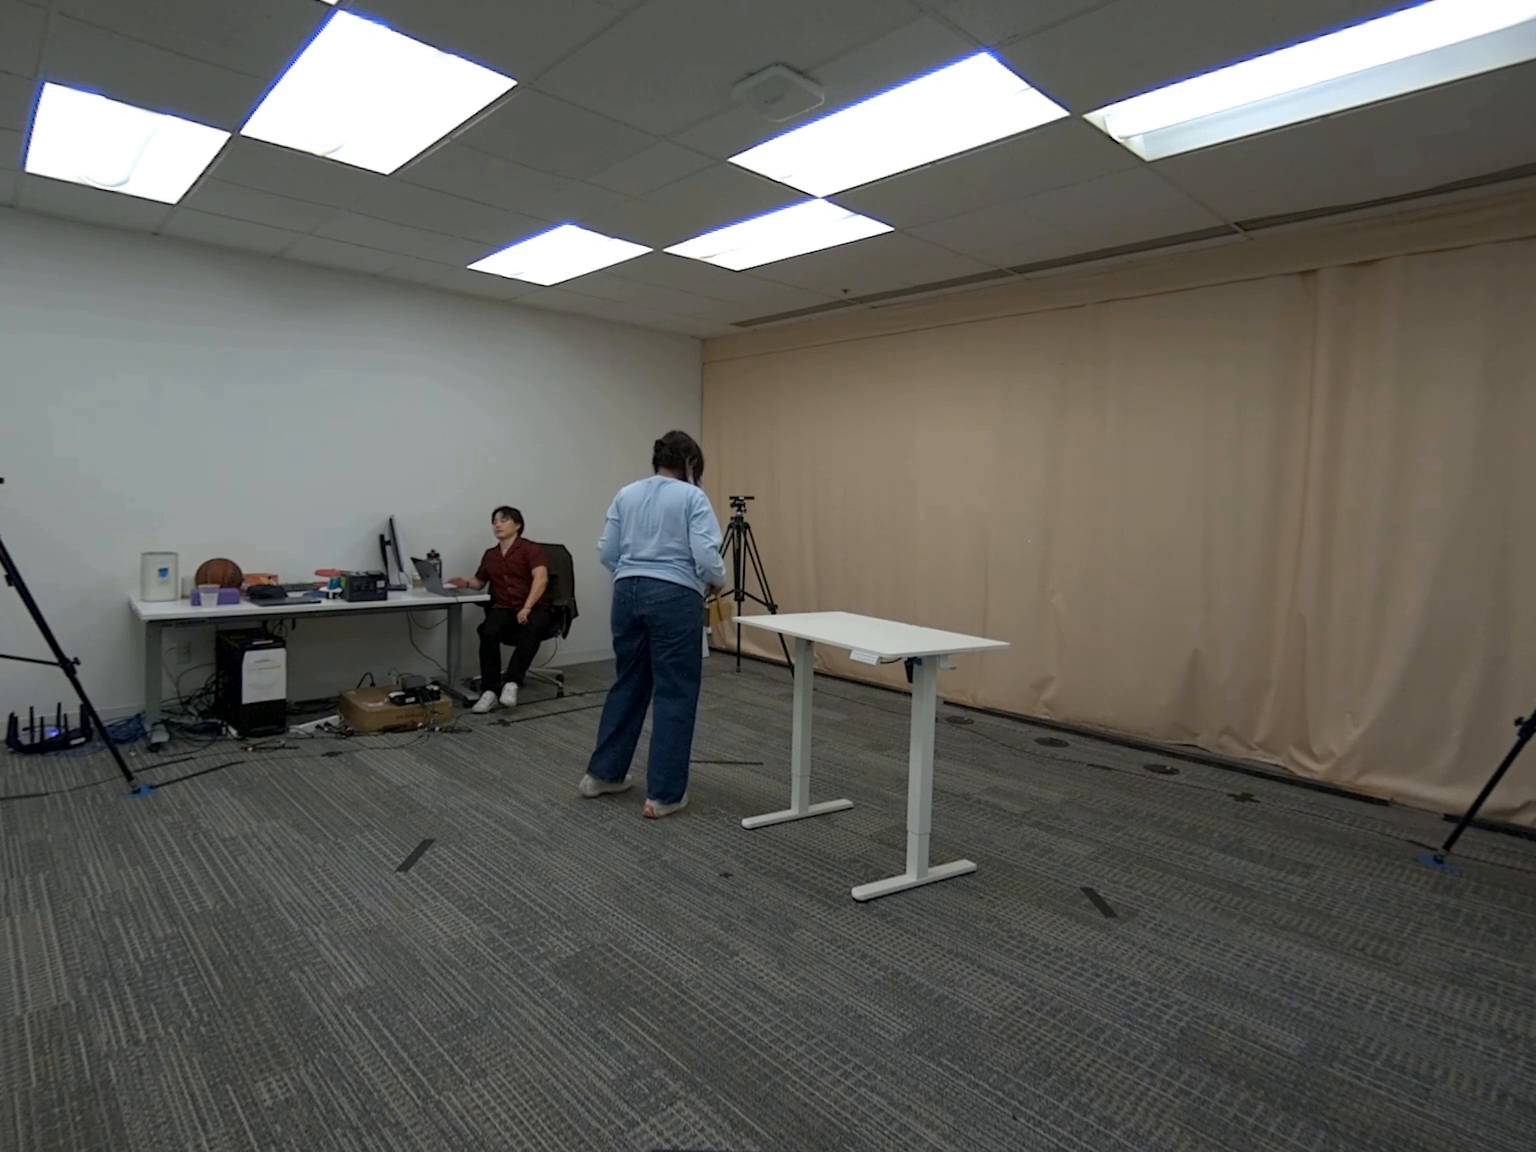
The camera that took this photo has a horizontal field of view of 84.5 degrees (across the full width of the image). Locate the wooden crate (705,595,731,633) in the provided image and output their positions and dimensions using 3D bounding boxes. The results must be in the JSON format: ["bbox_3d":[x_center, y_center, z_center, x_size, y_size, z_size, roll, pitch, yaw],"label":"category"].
[{"bbox_3d":[-0.371,0.071,4.043,0.331,0.271,0.298,7,11,24],"label":"wooden crate"}]
